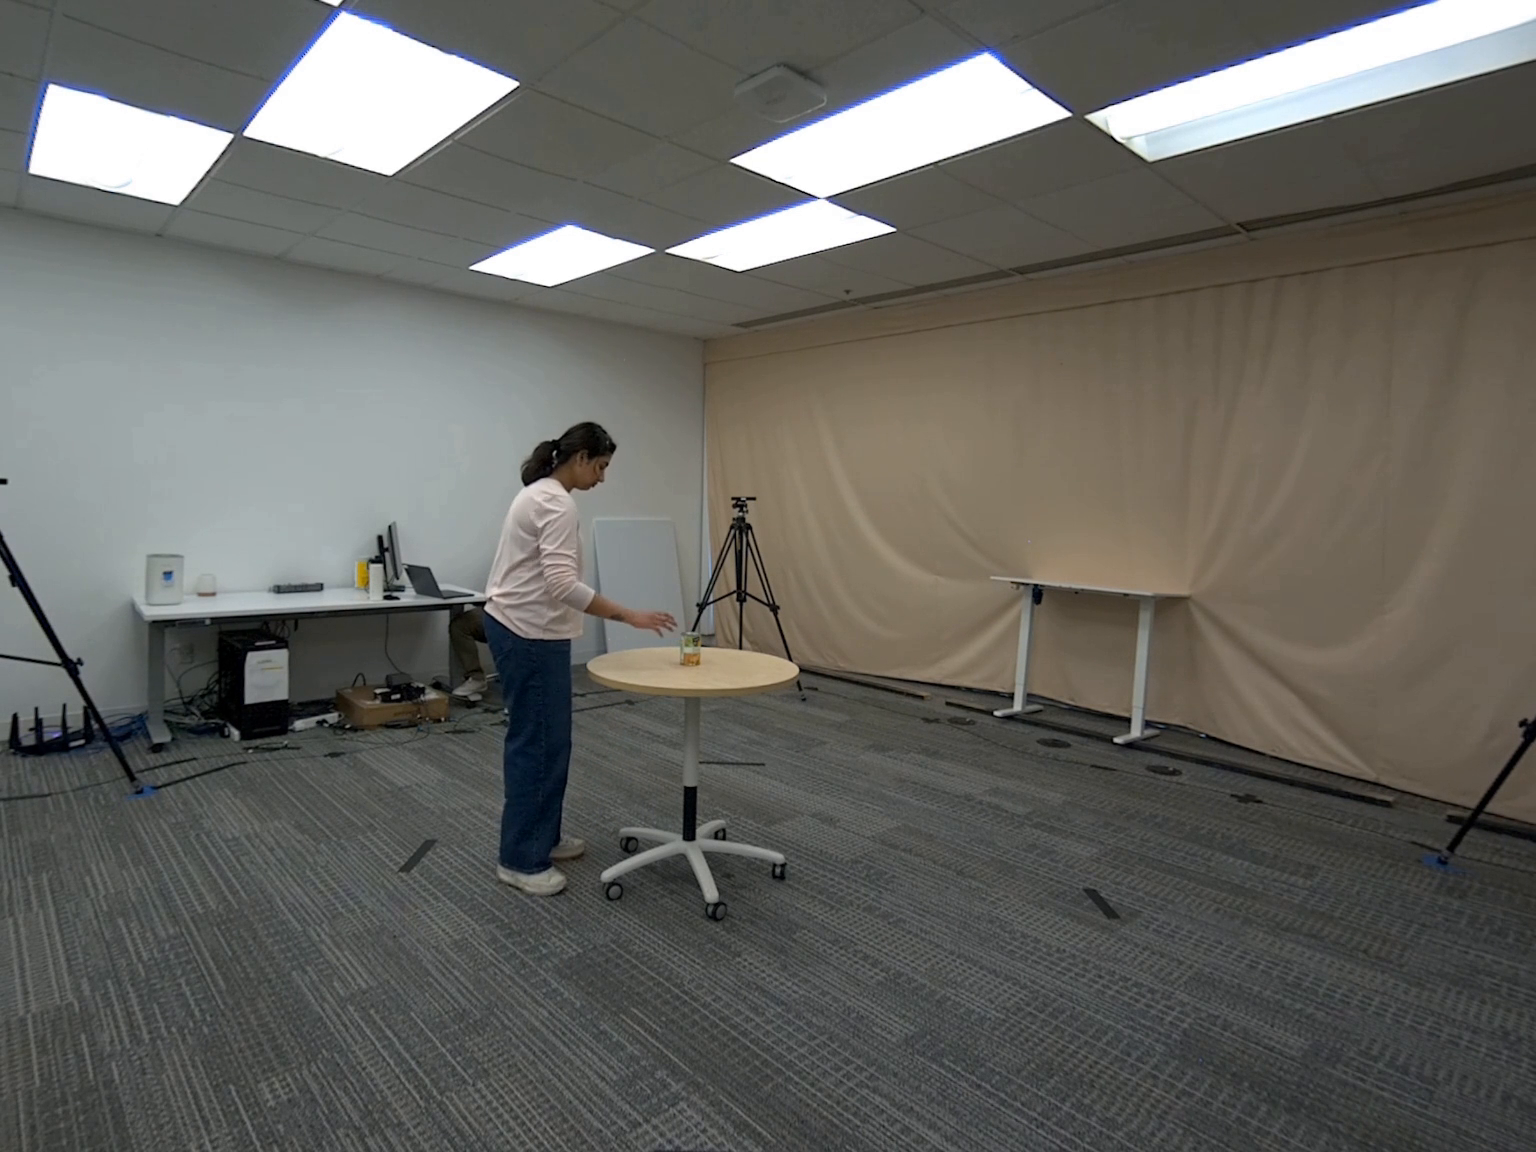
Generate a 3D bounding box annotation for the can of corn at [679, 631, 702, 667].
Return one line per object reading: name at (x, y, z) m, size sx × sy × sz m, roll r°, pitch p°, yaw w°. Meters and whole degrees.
can of corn at (-0.294, 0.269, 3.070) m, size 0.074 × 0.111 × 0.074 m, roll 1°, pitch 3°, yaw -1°
